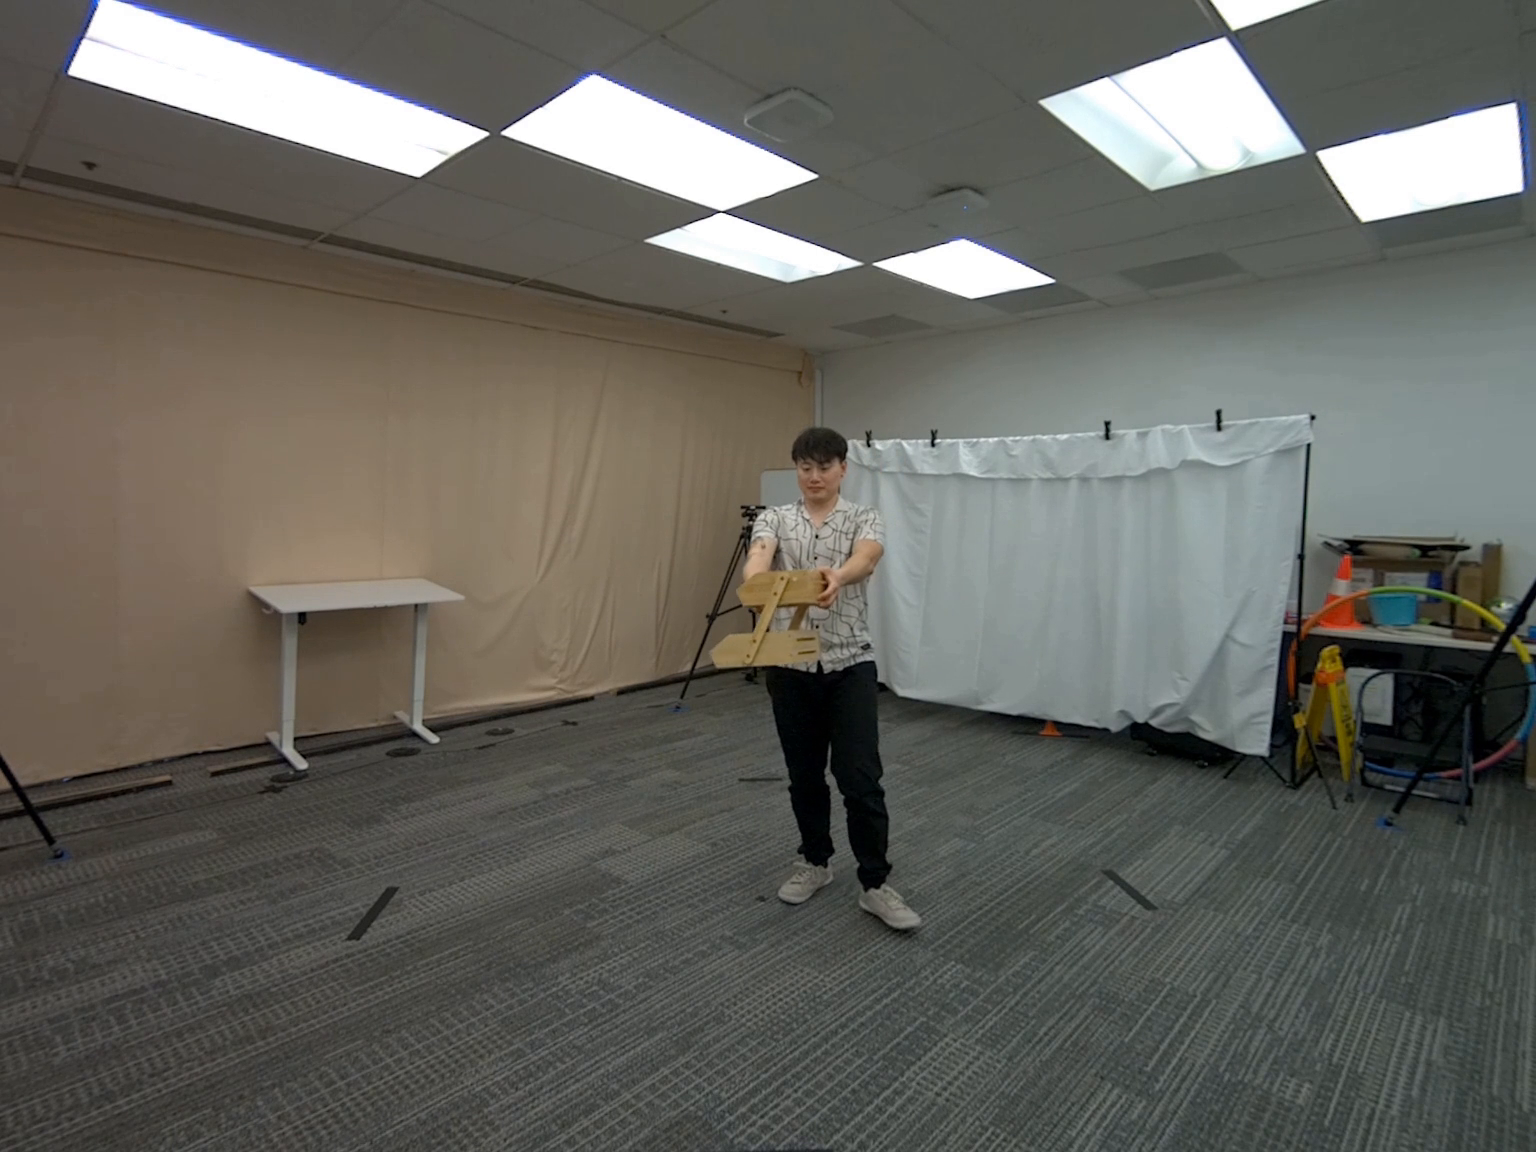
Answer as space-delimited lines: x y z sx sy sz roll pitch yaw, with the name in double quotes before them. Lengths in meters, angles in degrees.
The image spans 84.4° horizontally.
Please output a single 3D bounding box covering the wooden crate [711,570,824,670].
"wooden crate" 0.017 0.127 2.504 0.308 0.274 0.317 -5 -5 19
